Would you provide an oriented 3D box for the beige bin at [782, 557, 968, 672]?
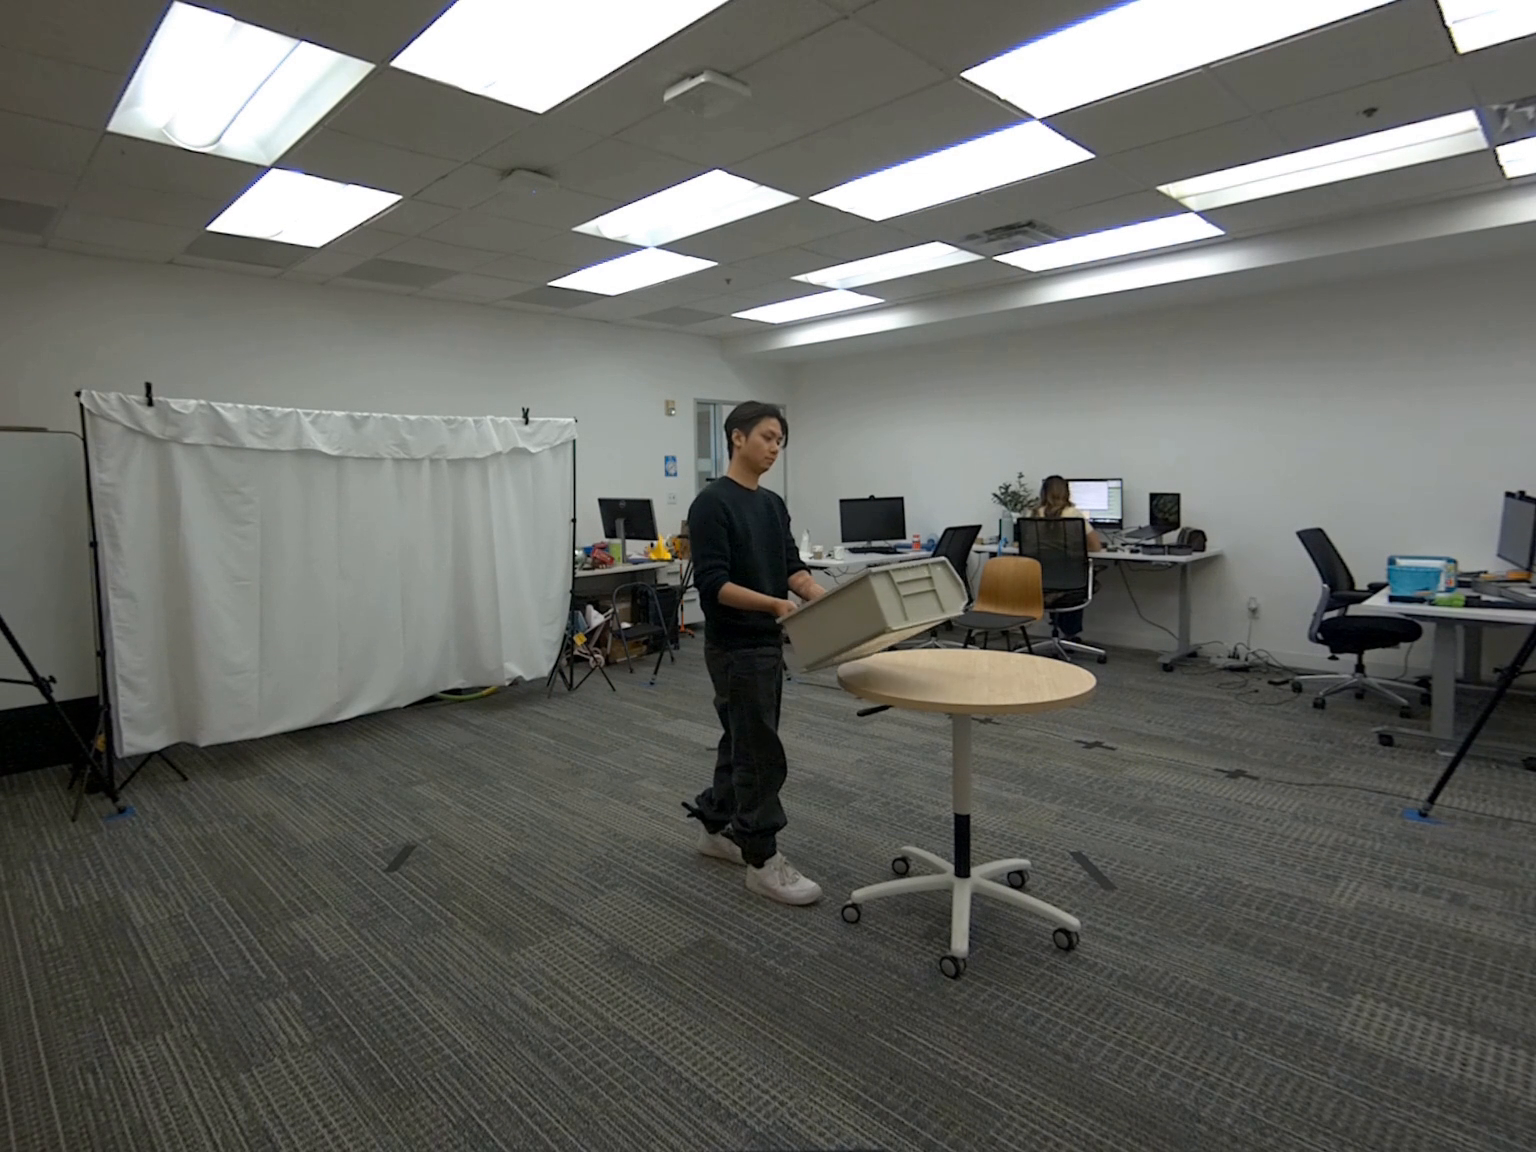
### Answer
[{"bbox_3d":[0.315,0.121,2.557,0.368,0.192,0.426,-9,-15,-41],"label":"beige bin"}]
